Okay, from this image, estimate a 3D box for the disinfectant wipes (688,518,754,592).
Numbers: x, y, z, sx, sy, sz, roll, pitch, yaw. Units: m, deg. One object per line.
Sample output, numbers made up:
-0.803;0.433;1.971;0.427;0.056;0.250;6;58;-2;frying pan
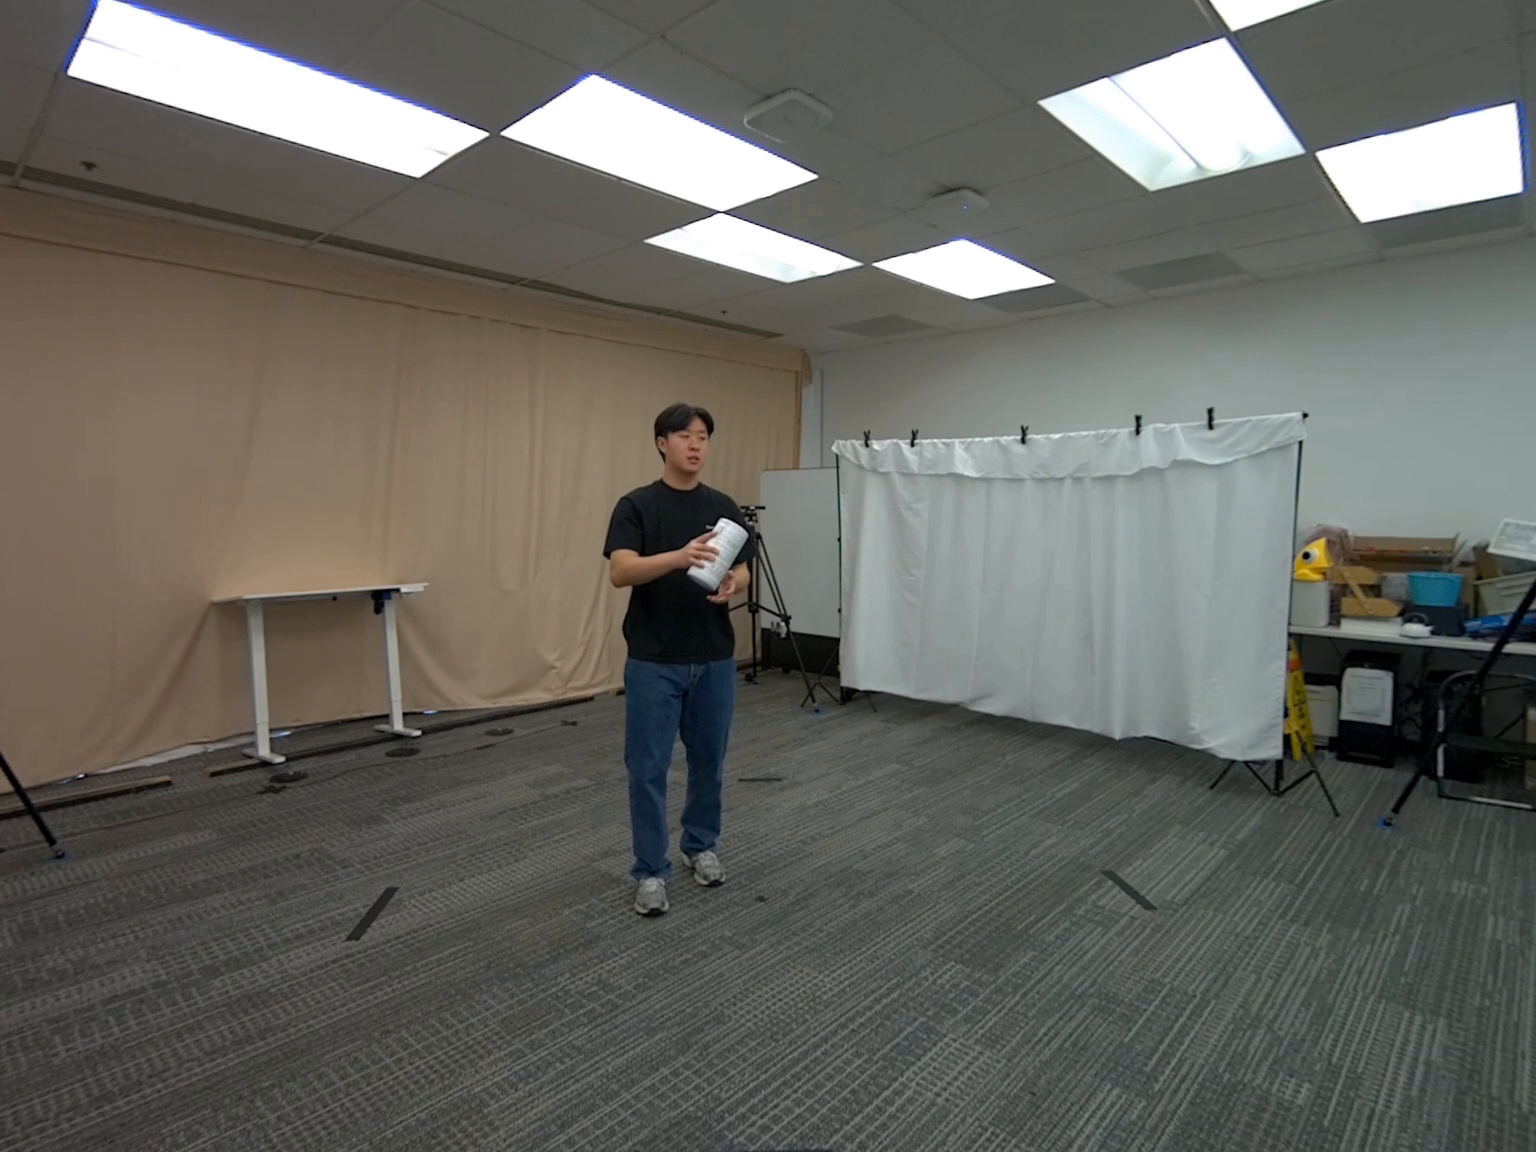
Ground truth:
-0.152;-0.074;2.714;0.118;0.217;0.117;25;-12;4;disinfectant wipes
